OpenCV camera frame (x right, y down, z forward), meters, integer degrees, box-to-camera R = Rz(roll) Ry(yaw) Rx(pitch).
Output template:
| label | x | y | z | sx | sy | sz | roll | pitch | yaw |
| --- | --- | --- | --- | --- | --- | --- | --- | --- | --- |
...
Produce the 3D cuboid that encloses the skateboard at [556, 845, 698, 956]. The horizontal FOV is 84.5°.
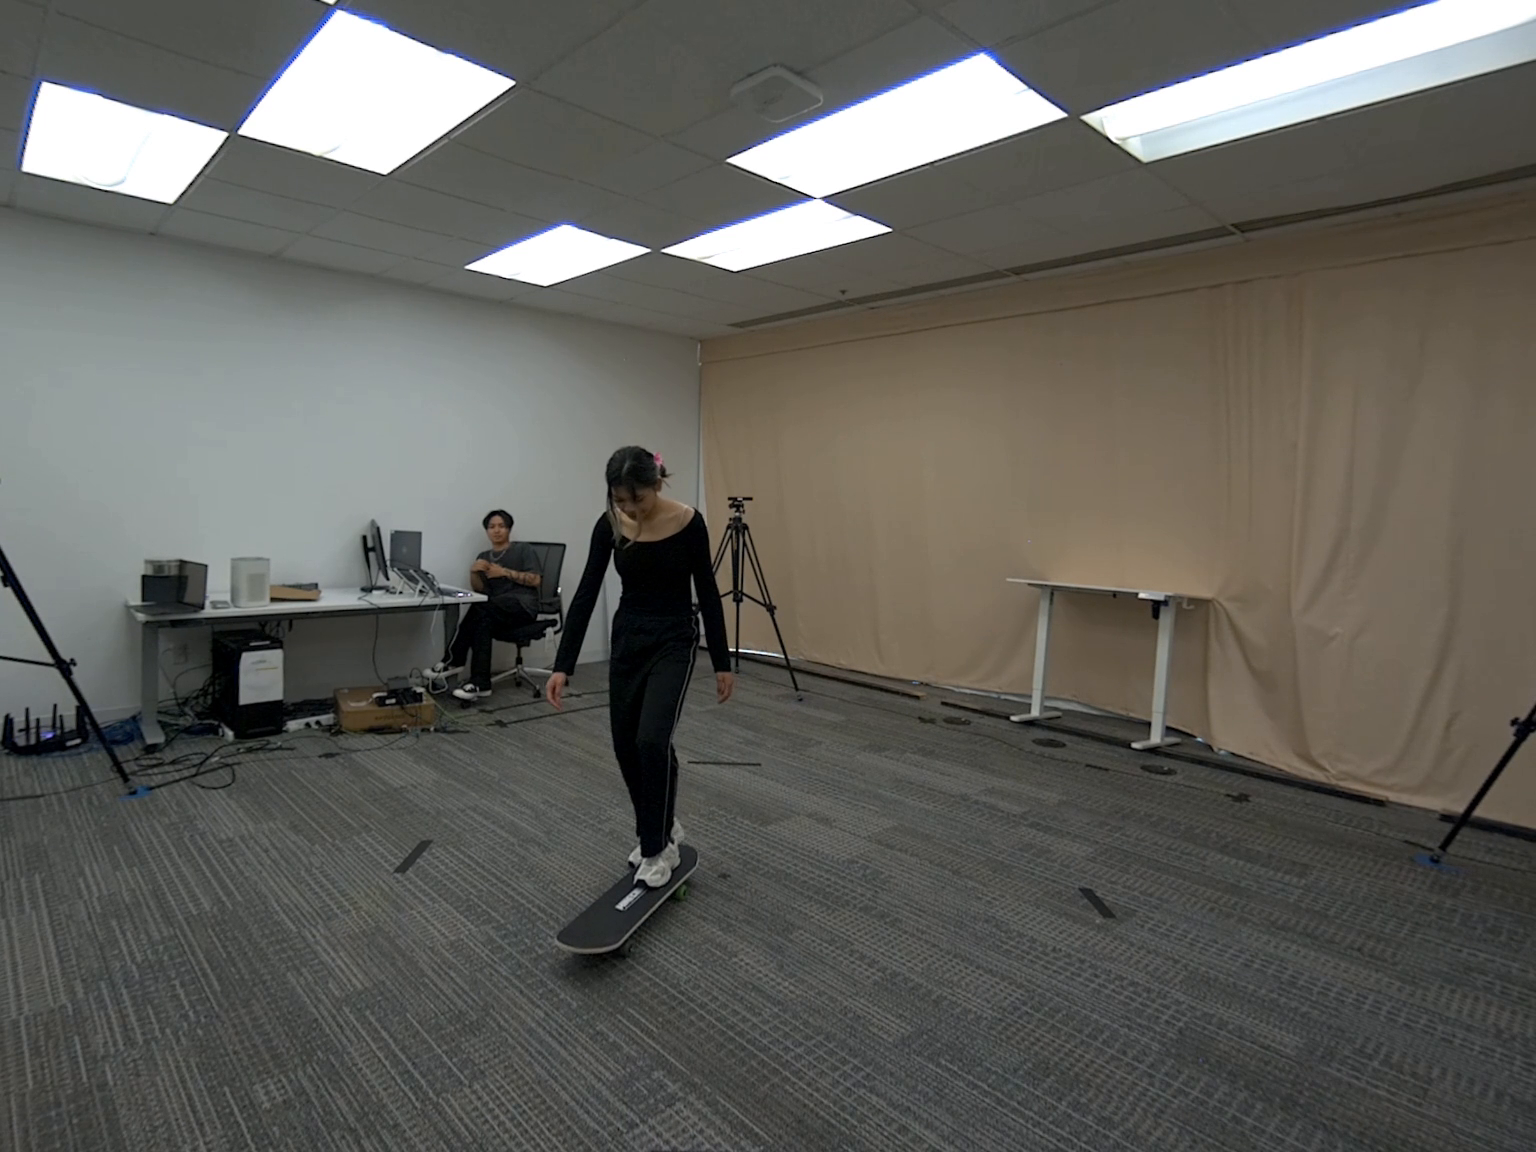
| label | x | y | z | sx | sy | sz | roll | pitch | yaw |
| --- | --- | --- | --- | --- | --- | --- | --- | --- | --- |
| skateboard | -0.443 | 1.077 | 2.758 | 0.196 | 0.110 | 0.775 | 3 | 5 | 18 |
